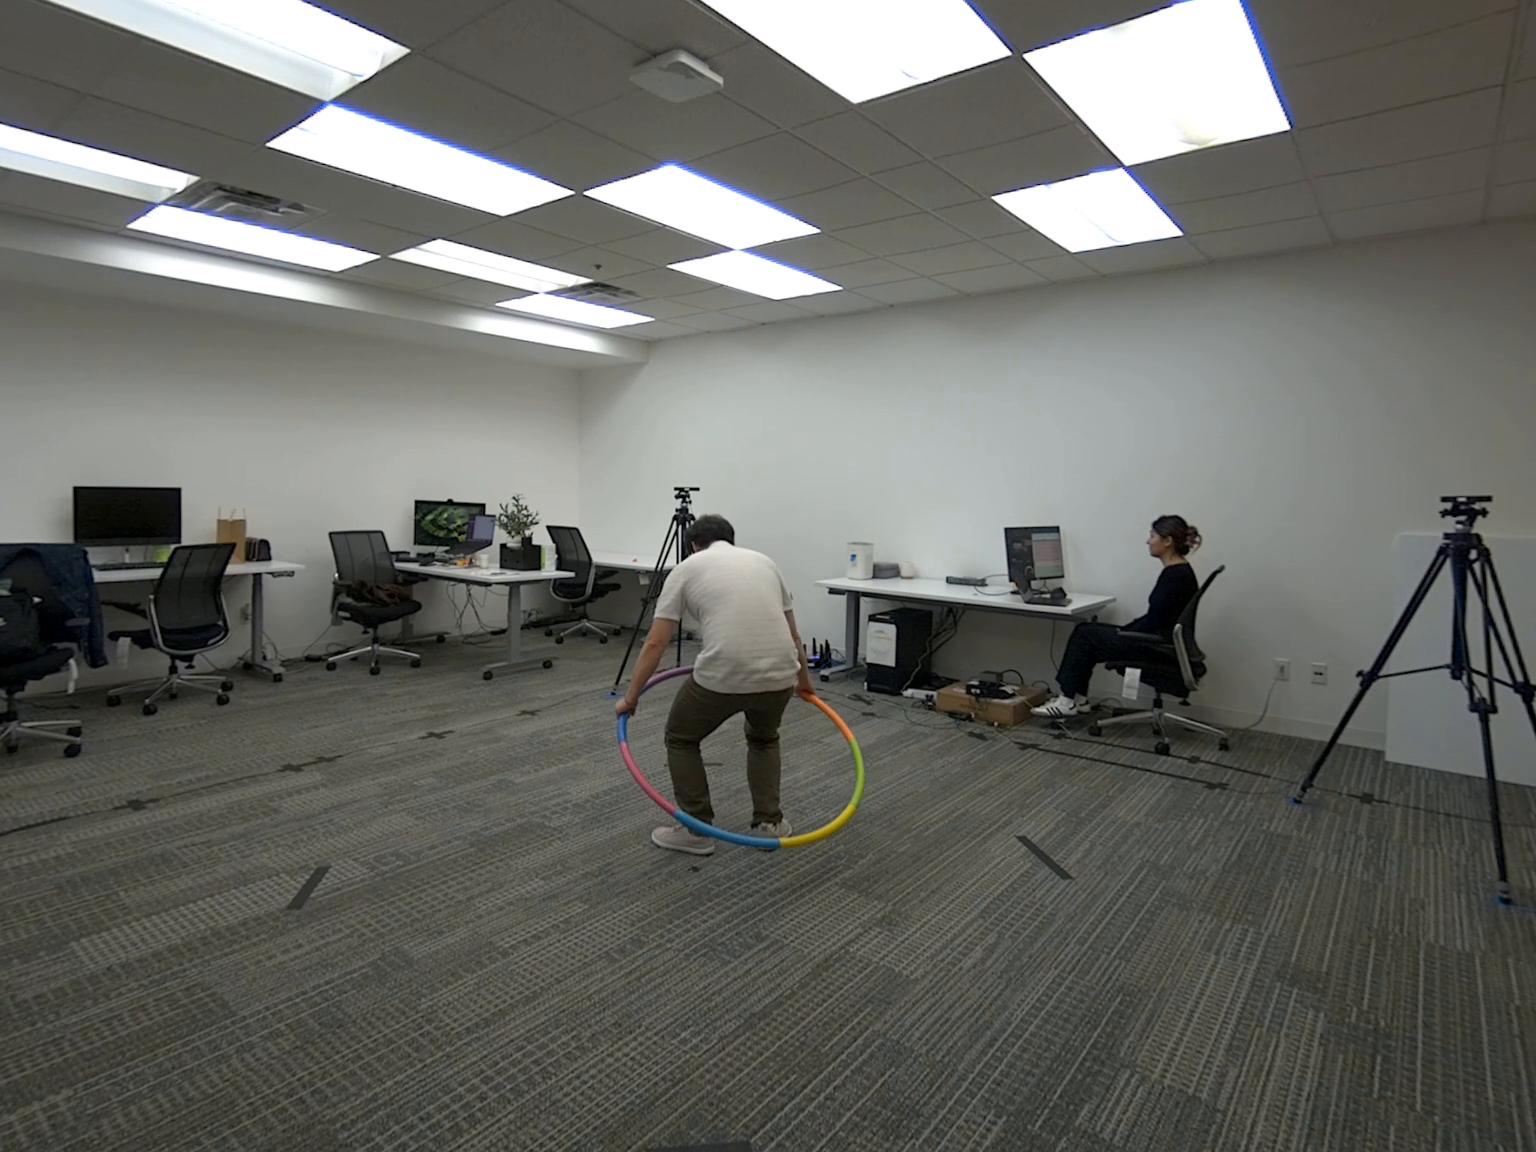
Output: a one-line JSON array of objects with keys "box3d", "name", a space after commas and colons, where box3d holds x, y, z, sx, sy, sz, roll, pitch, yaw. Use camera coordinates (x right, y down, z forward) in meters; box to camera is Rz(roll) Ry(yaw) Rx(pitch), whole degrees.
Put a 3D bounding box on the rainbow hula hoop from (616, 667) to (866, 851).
[{"box3d": [-0.100, 0.653, 3.313, 0.971, 0.035, 1.003, 9, 29, -7], "name": "rainbow hula hoop"}]
